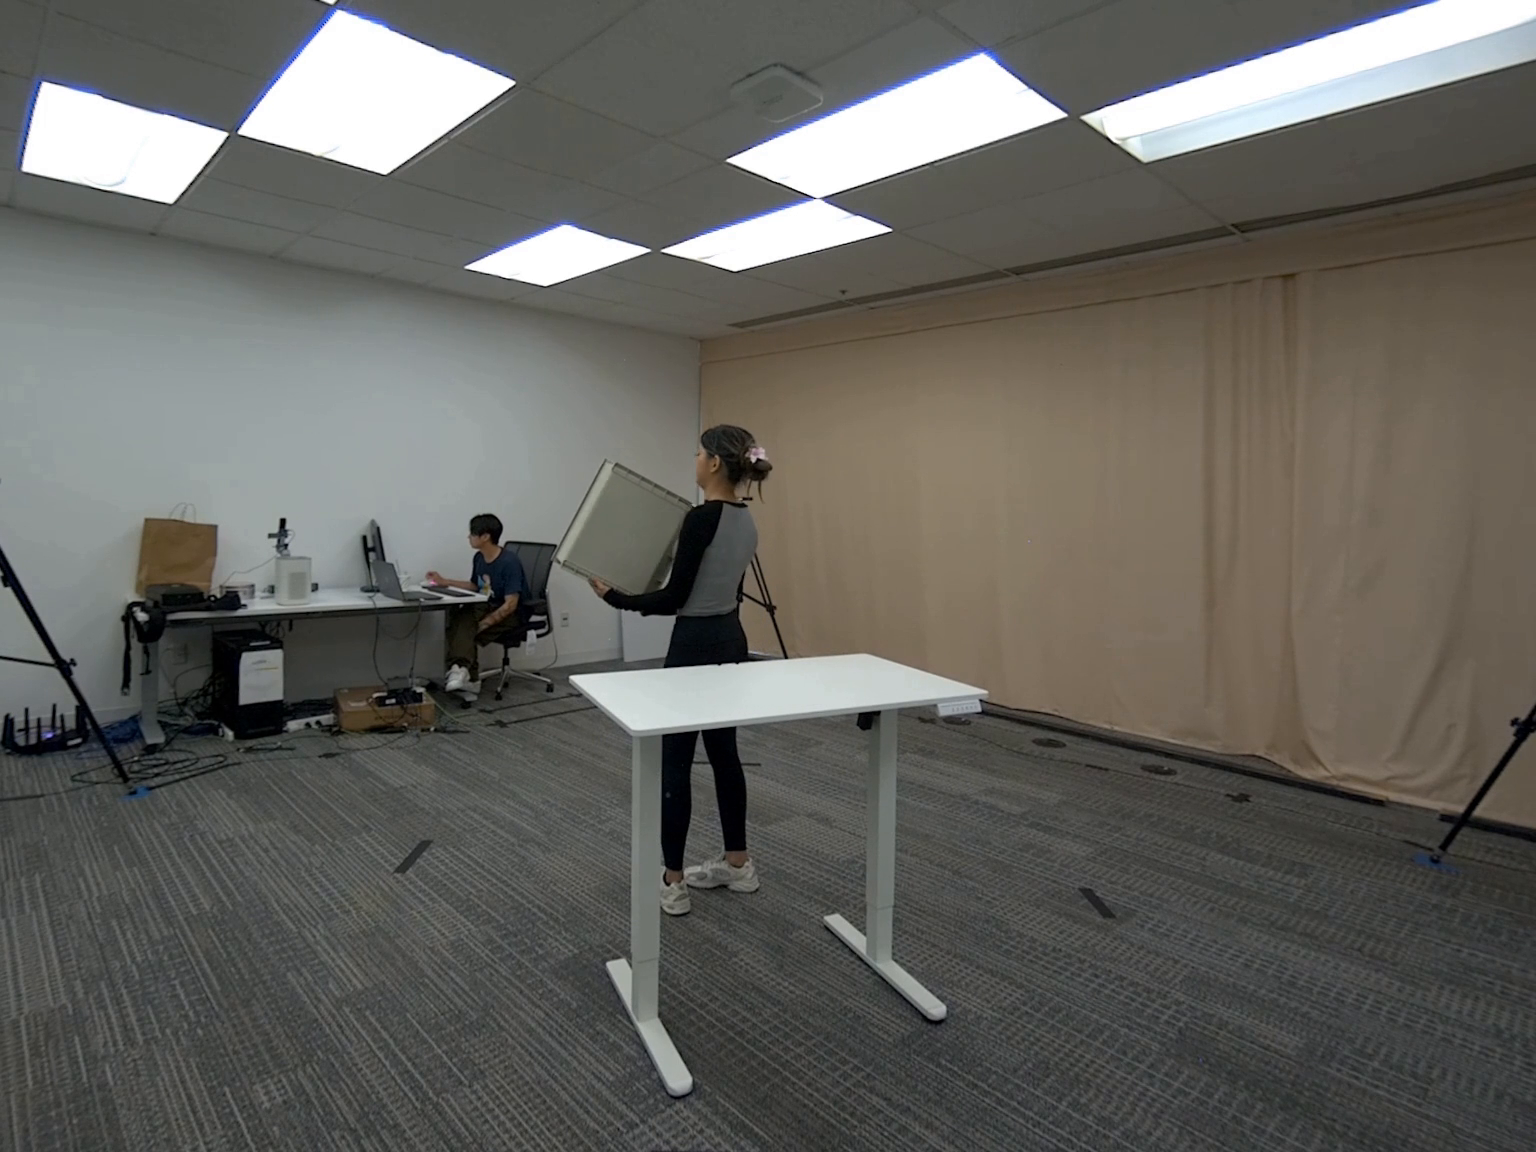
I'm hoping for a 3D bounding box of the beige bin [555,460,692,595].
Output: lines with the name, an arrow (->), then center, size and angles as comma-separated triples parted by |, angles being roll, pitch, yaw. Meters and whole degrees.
beige bin -> -0.510, -0.142, 3.028 | 0.369, 0.423, 0.193 | 29, -4, -22
